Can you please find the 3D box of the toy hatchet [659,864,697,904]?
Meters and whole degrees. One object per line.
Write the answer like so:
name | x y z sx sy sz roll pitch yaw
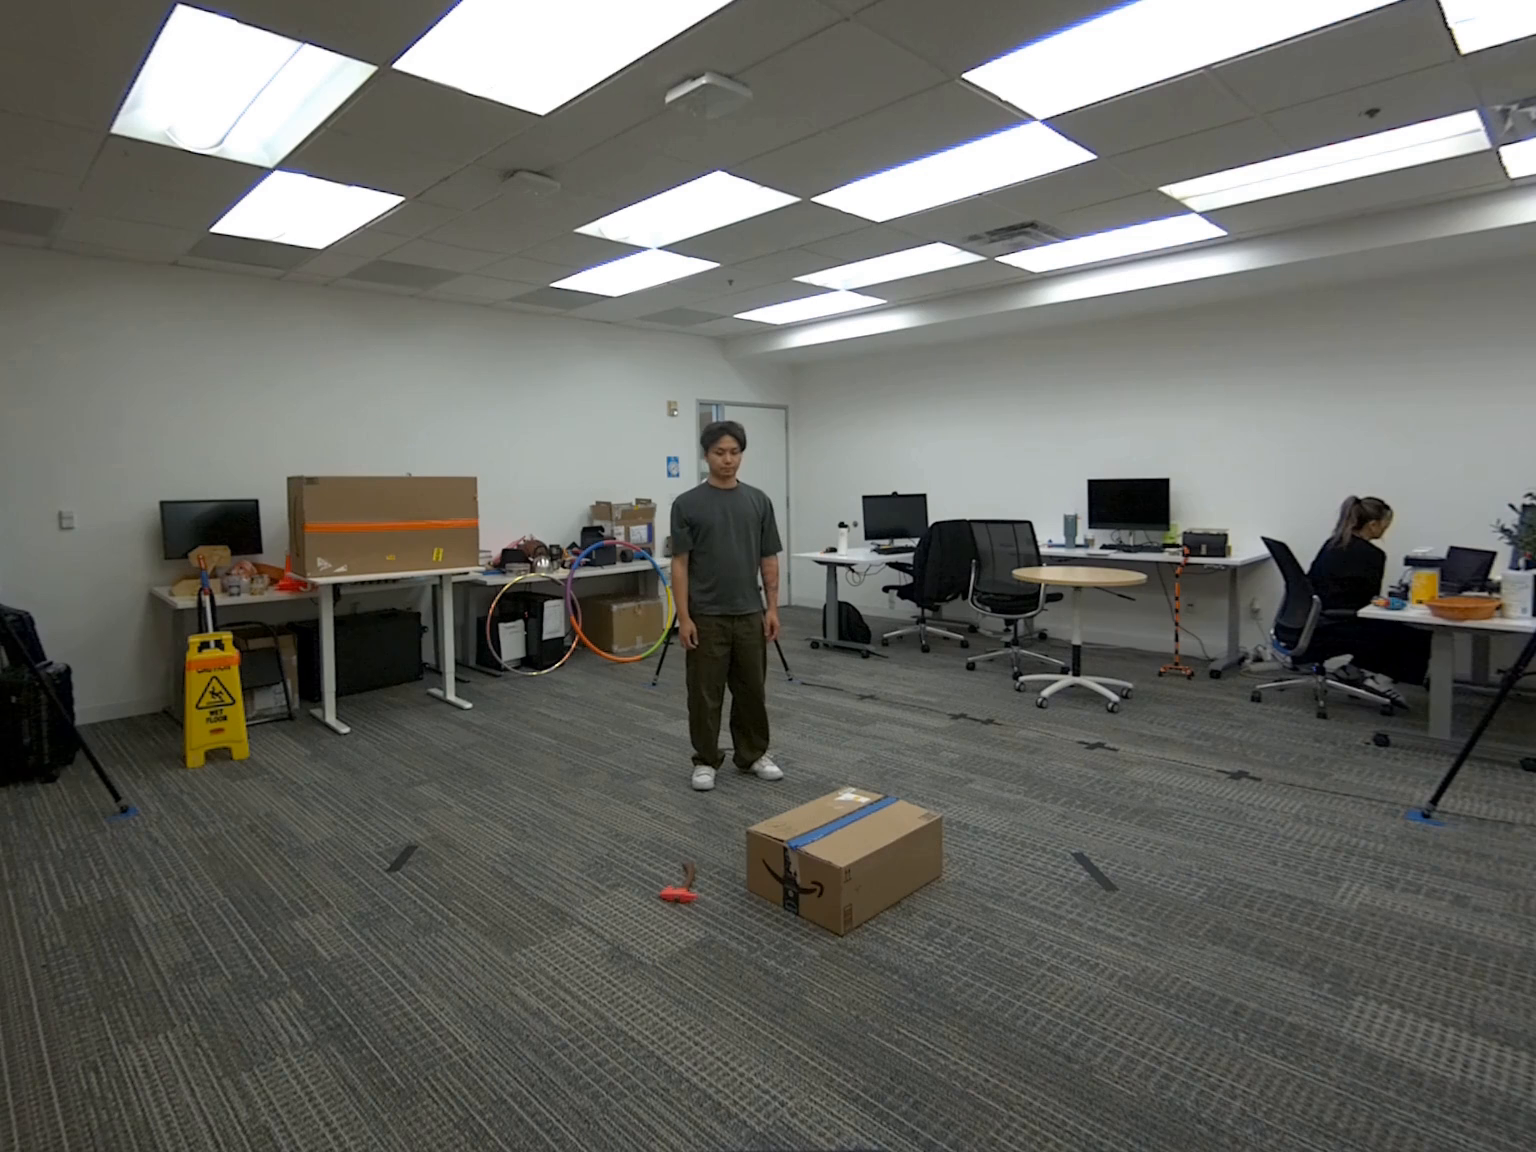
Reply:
toy hatchet | -0.313 1.065 2.956 0.130 0.029 0.272 -6 6 -7
